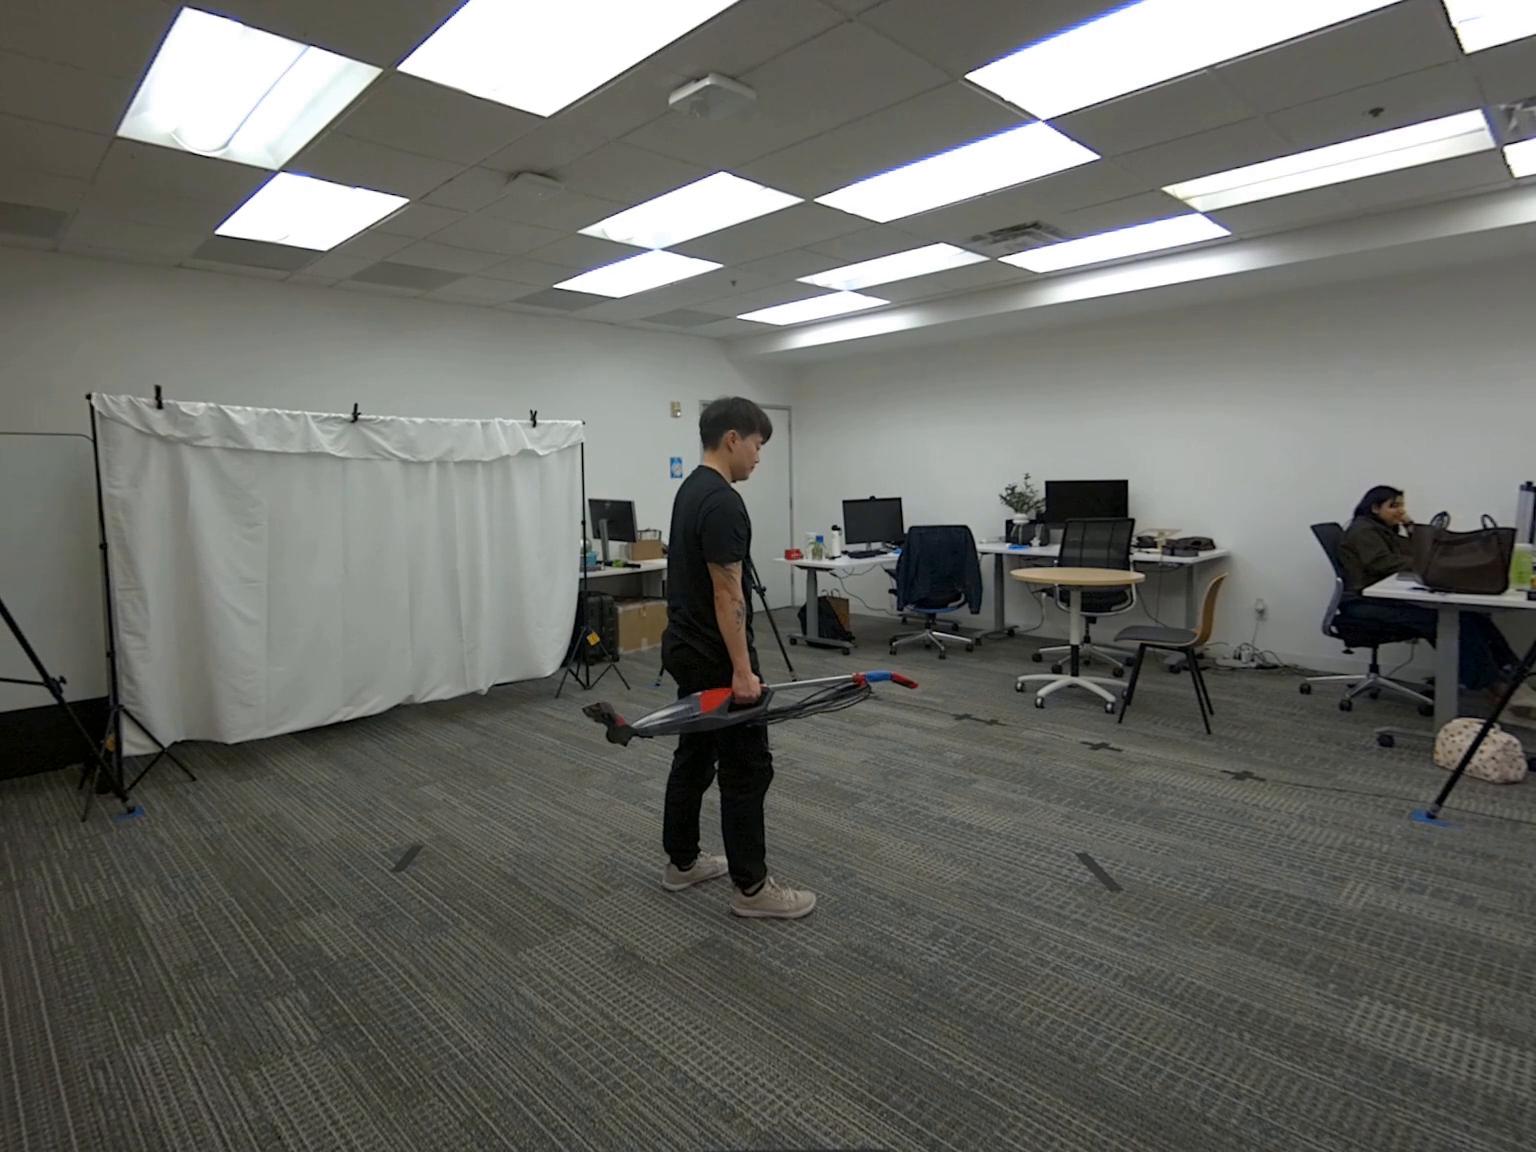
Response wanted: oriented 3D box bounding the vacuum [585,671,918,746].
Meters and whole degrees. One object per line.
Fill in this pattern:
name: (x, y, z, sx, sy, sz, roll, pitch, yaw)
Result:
vacuum: (0.009, 0.405, 2.643, 1.030, 0.146, 0.254, -3, -11, -20)
